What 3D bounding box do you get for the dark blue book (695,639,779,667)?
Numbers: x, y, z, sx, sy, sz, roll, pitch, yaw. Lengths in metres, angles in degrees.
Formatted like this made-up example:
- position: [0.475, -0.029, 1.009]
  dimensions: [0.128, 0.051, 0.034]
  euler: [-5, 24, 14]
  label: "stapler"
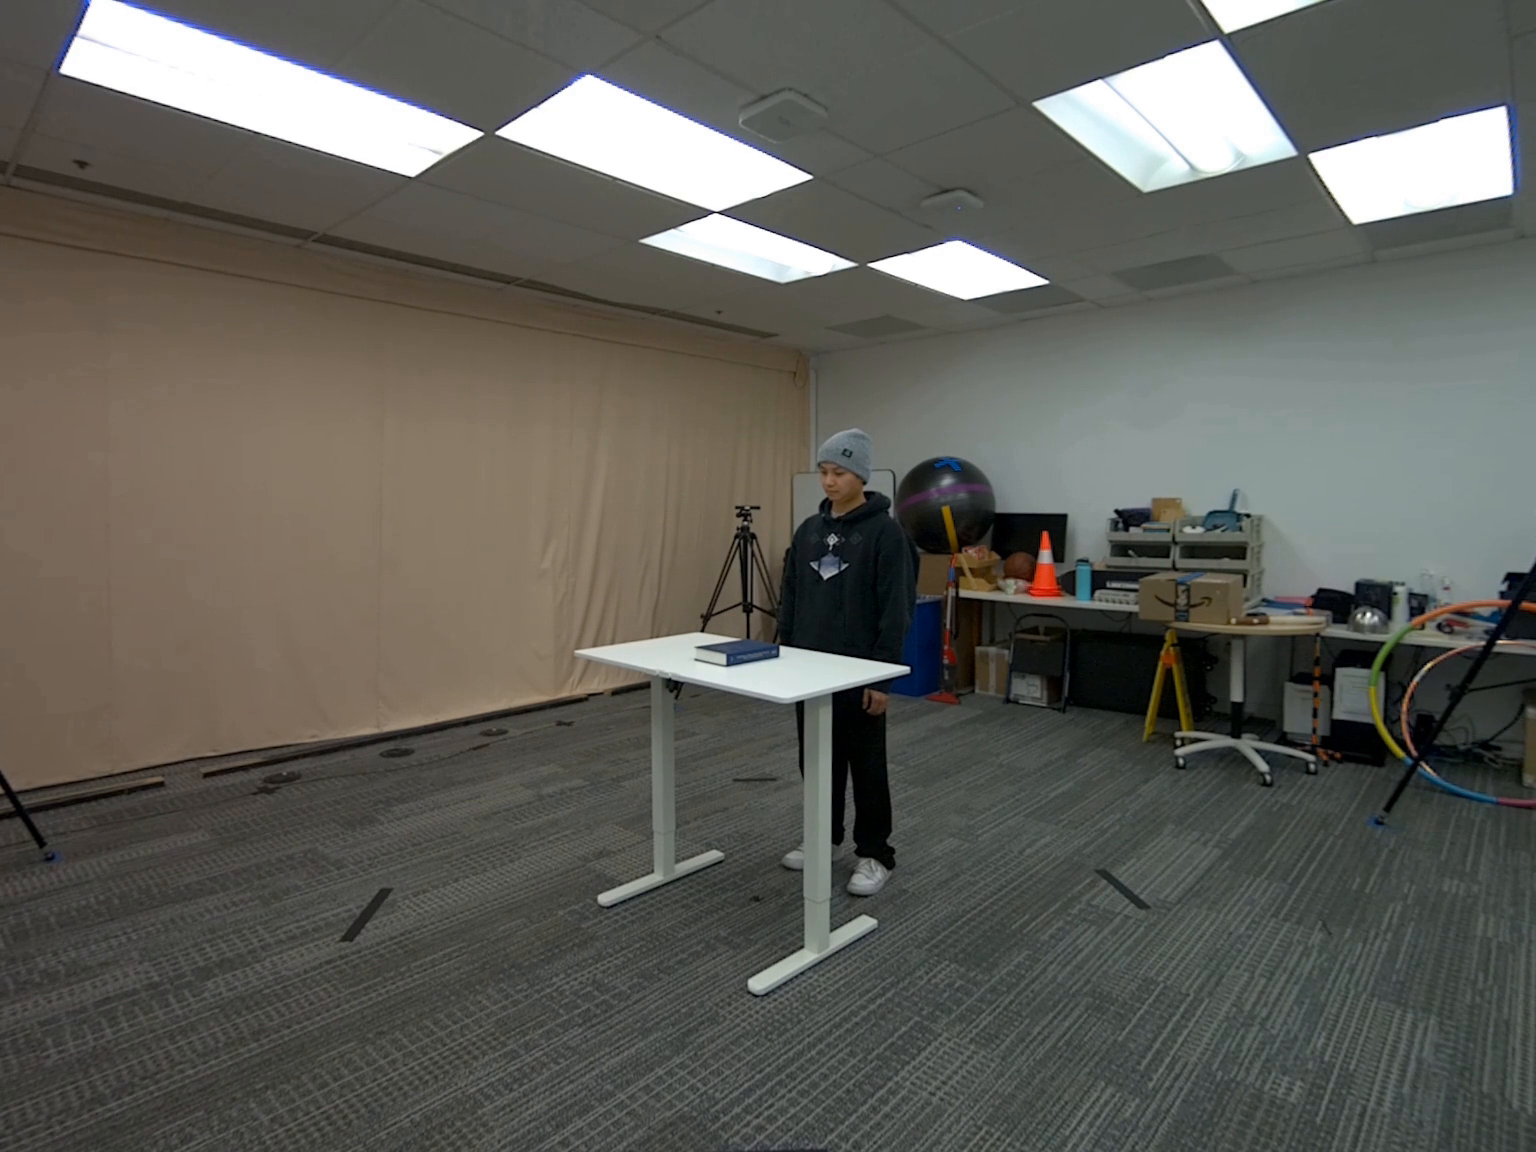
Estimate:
- position: [-0.110, 0.260, 2.798]
  dimensions: [0.238, 0.045, 0.169]
  euler: [-5, 7, -43]
  label: "dark blue book"
